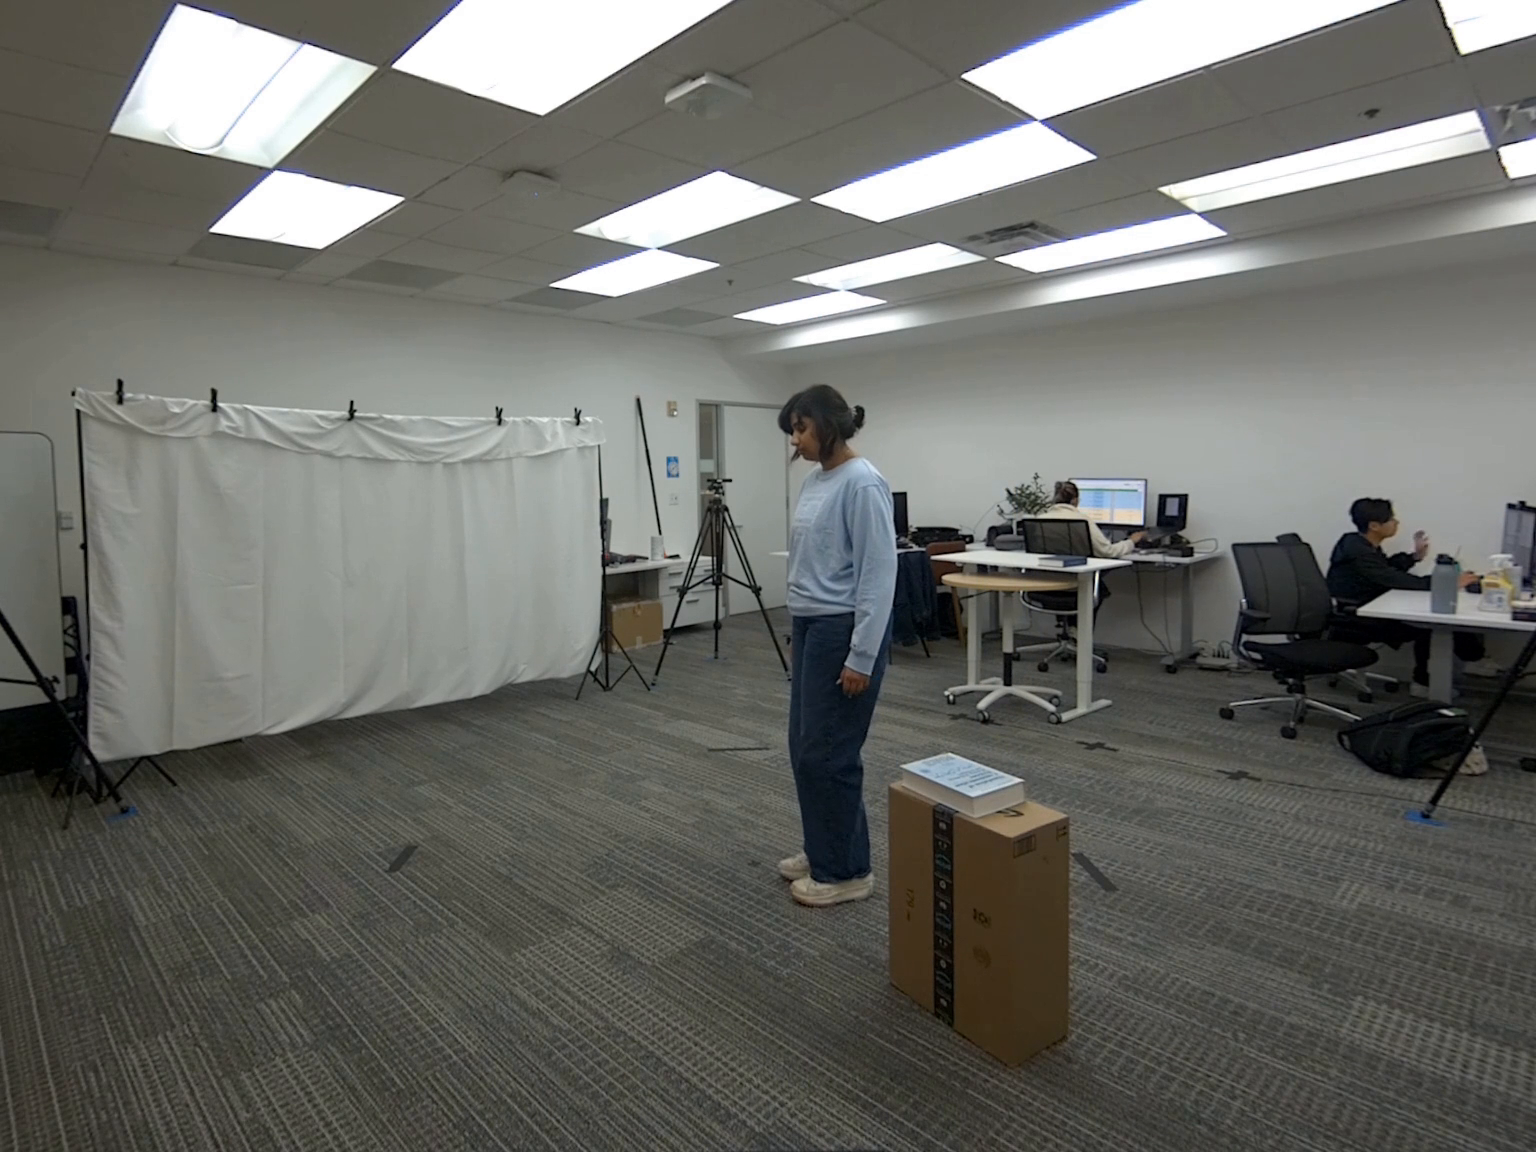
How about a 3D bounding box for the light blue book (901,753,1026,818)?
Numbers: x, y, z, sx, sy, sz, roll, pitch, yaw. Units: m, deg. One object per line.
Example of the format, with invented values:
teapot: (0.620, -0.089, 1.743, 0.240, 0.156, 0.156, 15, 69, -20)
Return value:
light blue book: (0.504, 0.540, 2.237, 0.187, 0.059, 0.268, -7, 8, -32)
